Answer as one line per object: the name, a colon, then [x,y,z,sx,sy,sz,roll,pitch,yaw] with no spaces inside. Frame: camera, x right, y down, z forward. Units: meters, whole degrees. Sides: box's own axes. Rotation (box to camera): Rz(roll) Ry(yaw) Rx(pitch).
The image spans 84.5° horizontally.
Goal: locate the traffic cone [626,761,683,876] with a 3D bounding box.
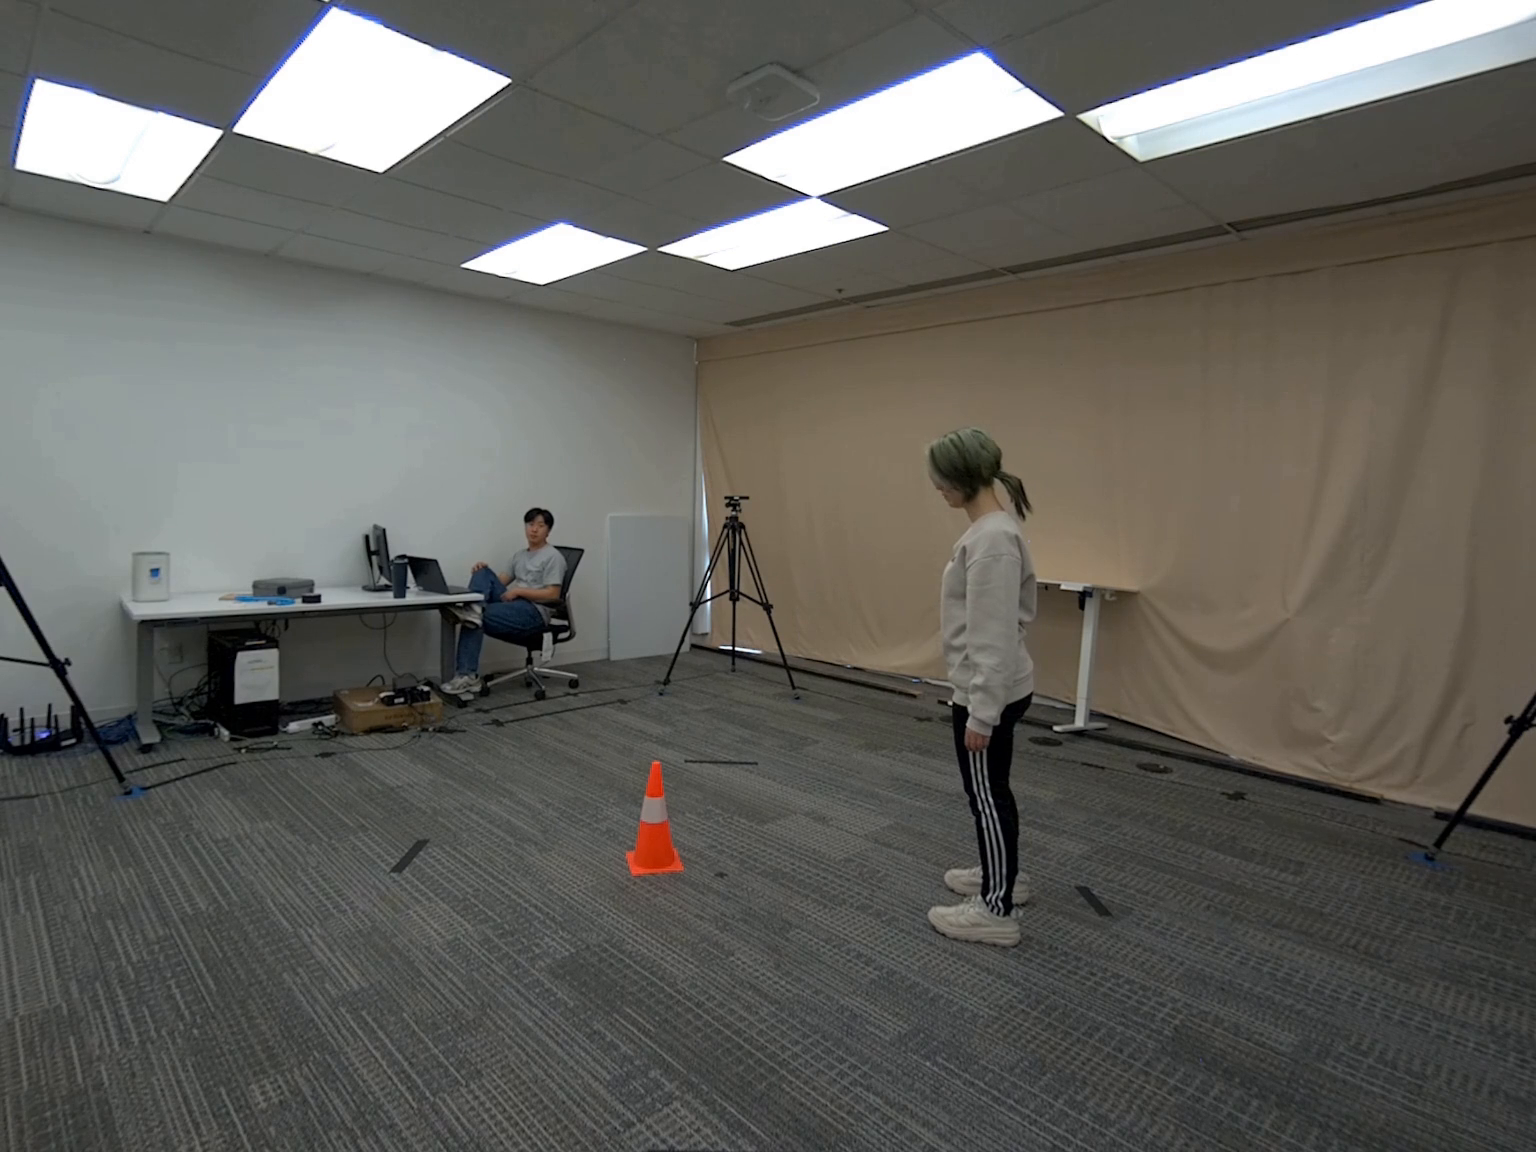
traffic cone: [-0.443,0.903,3.201,0.202,0.383,0.206,-1,2,-15]
